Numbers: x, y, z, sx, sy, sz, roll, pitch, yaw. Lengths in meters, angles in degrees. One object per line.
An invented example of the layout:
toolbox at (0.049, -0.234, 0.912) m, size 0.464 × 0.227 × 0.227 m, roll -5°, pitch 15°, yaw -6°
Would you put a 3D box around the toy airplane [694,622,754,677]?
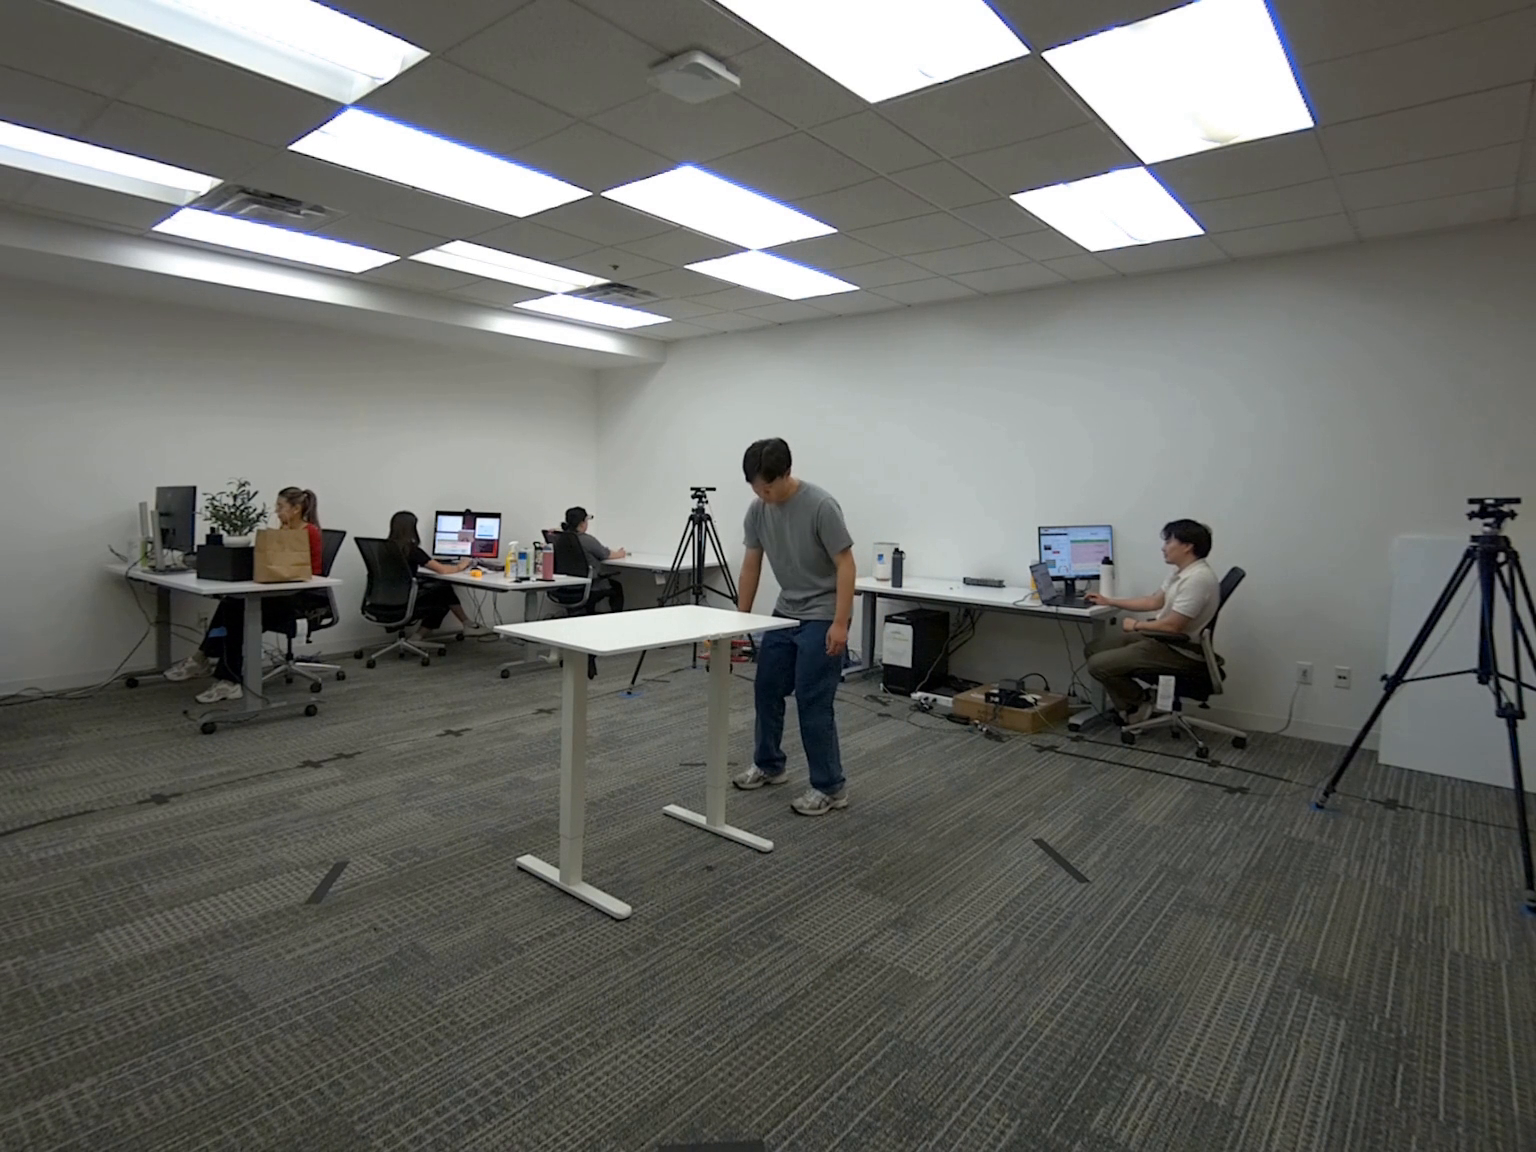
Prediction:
toy airplane at (-0.200, 0.332, 3.858) m, size 0.252 × 0.155 × 0.262 m, roll -4°, pitch 12°, yaw 1°
